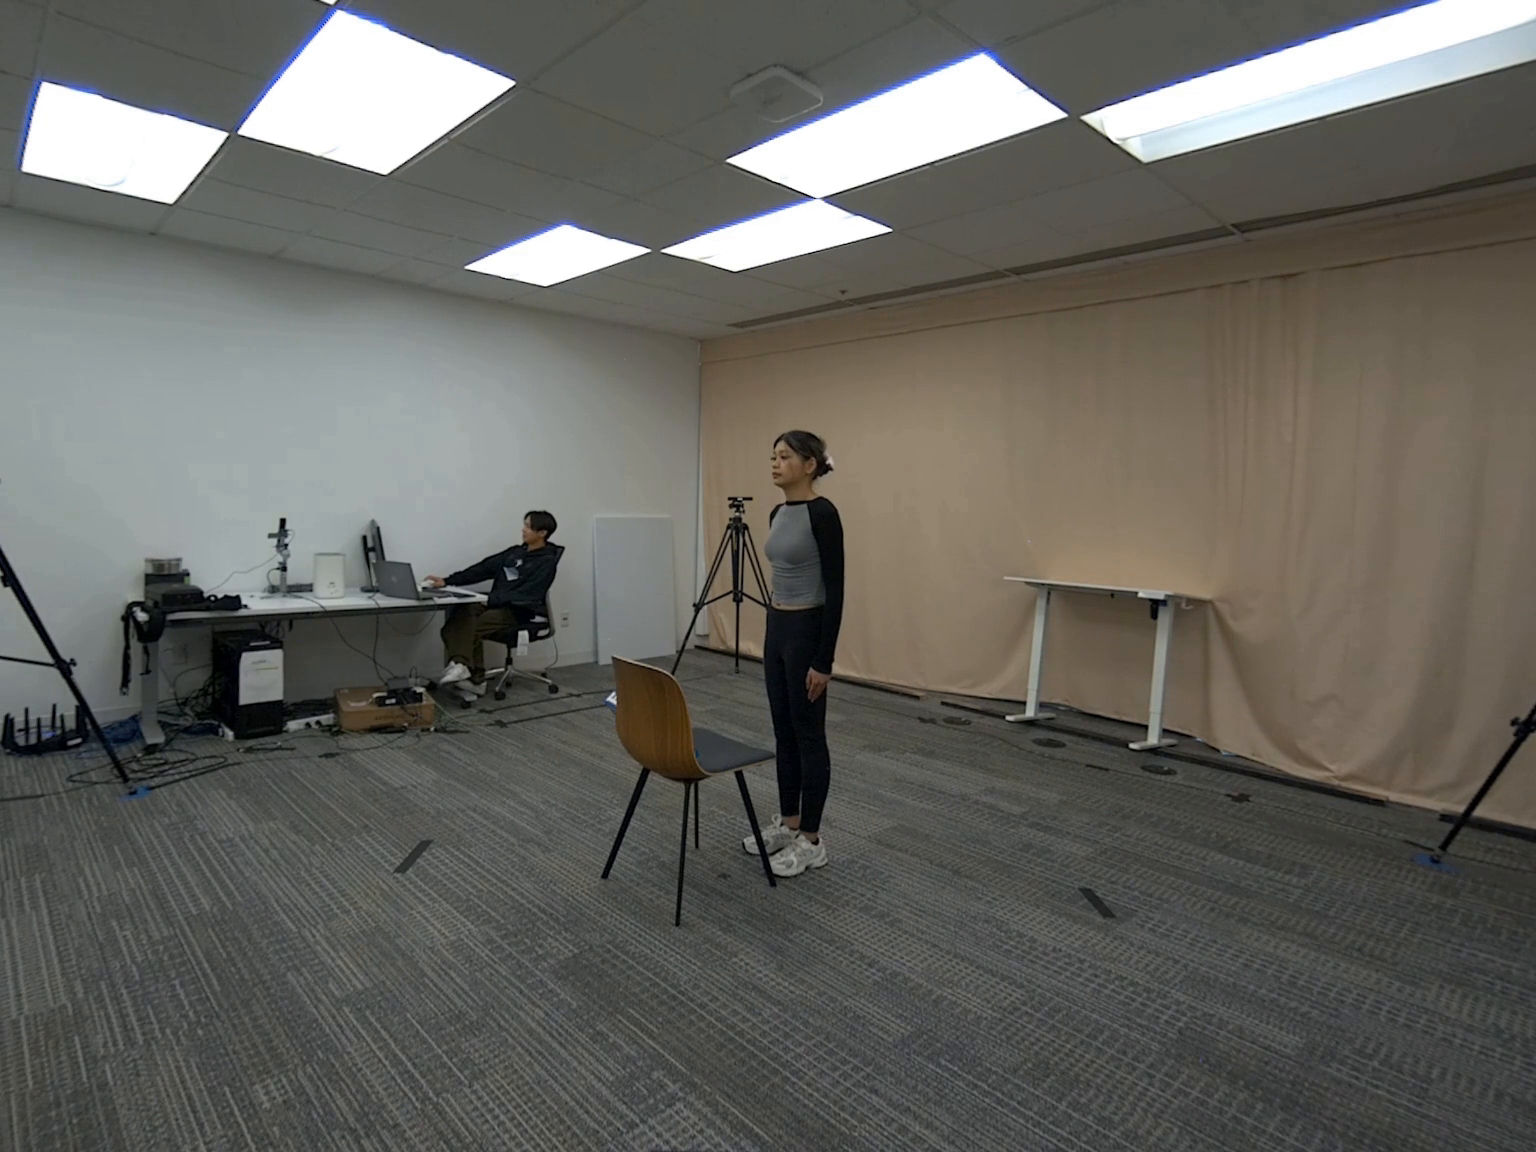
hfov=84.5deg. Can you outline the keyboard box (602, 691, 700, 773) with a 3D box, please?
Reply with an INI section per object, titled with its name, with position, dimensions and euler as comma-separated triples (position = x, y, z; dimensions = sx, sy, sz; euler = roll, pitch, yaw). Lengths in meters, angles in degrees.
[keyboard box]
position = -0.427, 0.548, 3.020
dimensions = 0.059, 0.171, 0.448
euler = -43, 30, -23
